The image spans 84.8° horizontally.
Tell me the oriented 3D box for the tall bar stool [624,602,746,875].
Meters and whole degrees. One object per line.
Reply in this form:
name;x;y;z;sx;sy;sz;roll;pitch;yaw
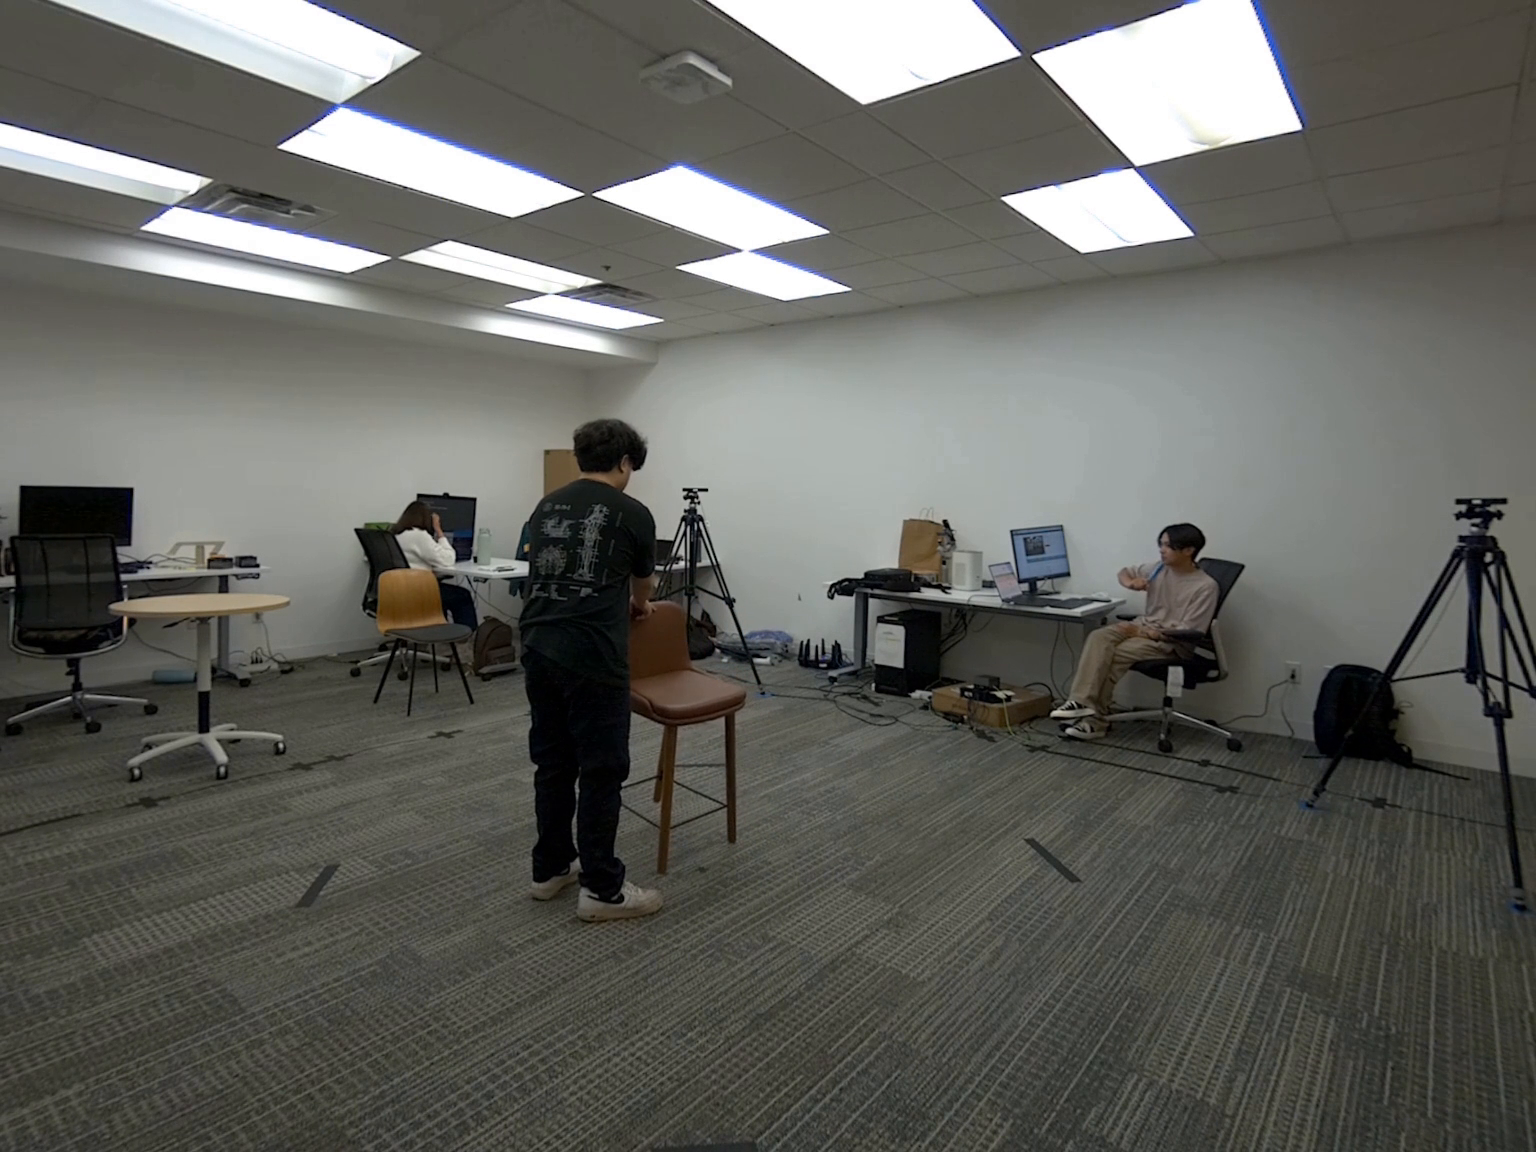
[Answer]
tall bar stool;-0.387;0.585;3.306;0.485;0.885;0.442;11;9;41
